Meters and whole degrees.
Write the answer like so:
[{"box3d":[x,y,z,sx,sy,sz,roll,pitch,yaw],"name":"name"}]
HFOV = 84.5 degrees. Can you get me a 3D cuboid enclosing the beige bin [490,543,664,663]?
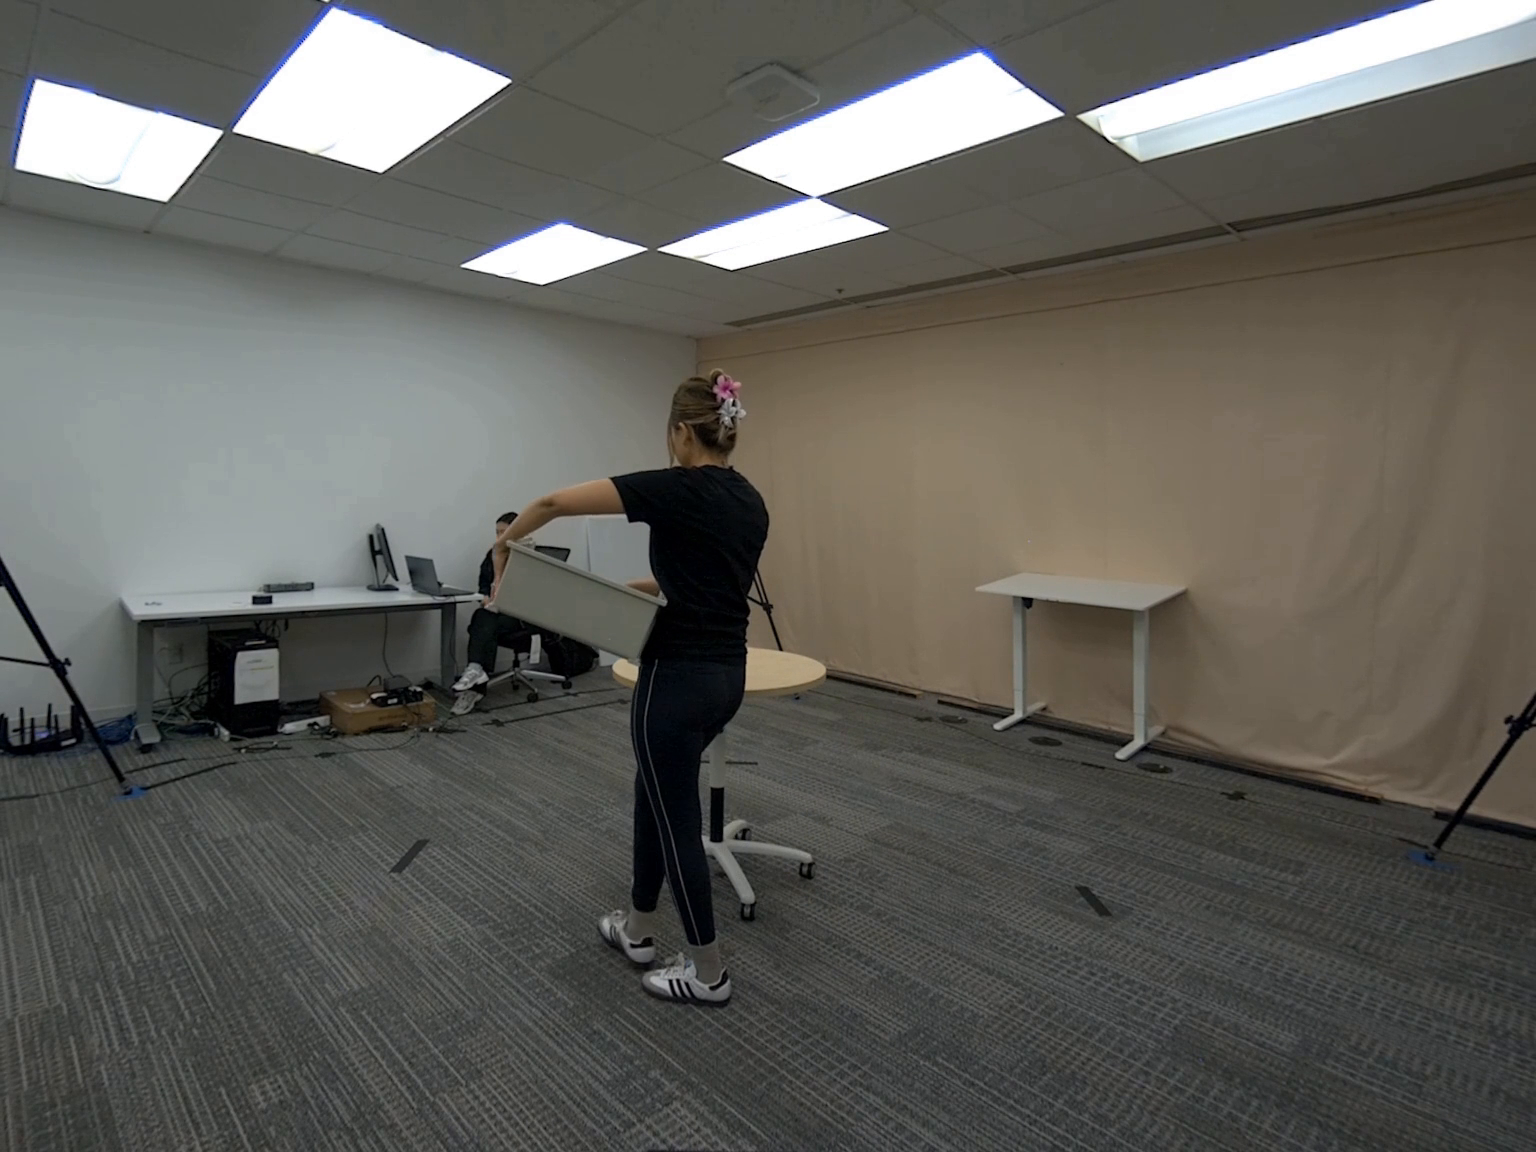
[{"box3d":[-0.505,0.062,2.278,0.420,0.189,0.379,23,2,-5],"name":"beige bin"}]
